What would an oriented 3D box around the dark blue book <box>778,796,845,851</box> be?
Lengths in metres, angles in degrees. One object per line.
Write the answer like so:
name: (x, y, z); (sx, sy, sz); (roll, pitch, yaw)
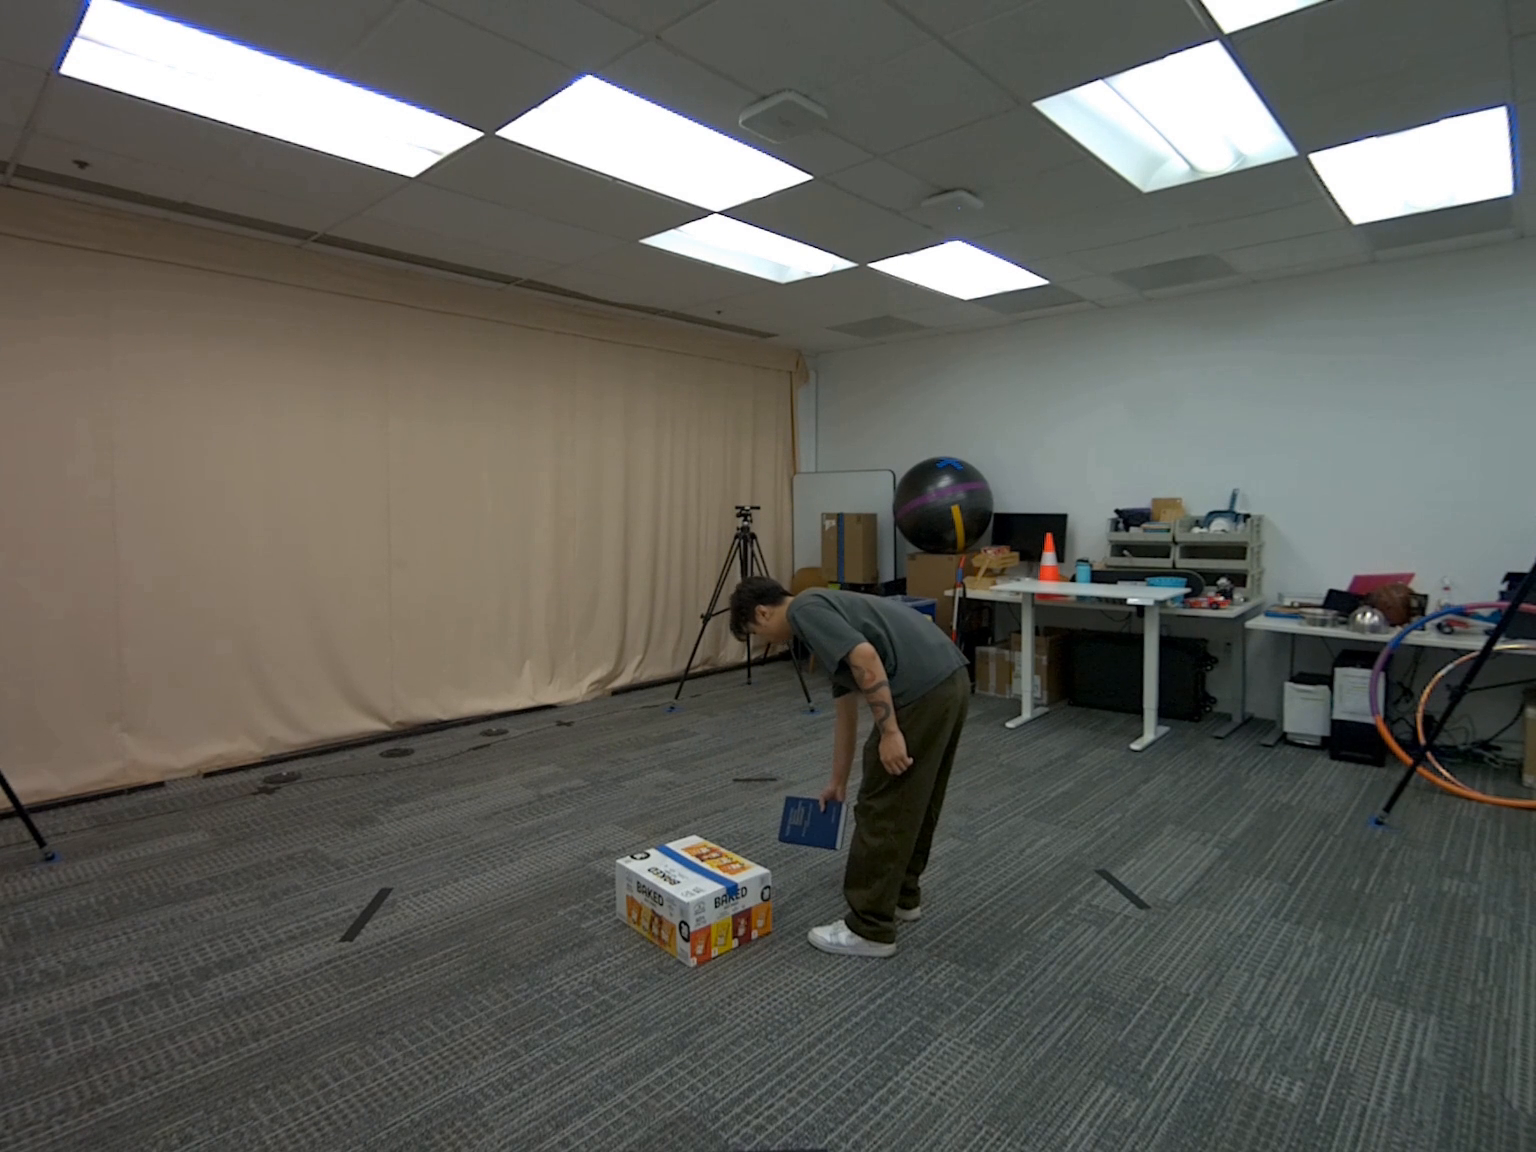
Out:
dark blue book: (0.166, 0.885, 3.022); (0.252, 0.164, 0.043); (-6, -30, 38)
